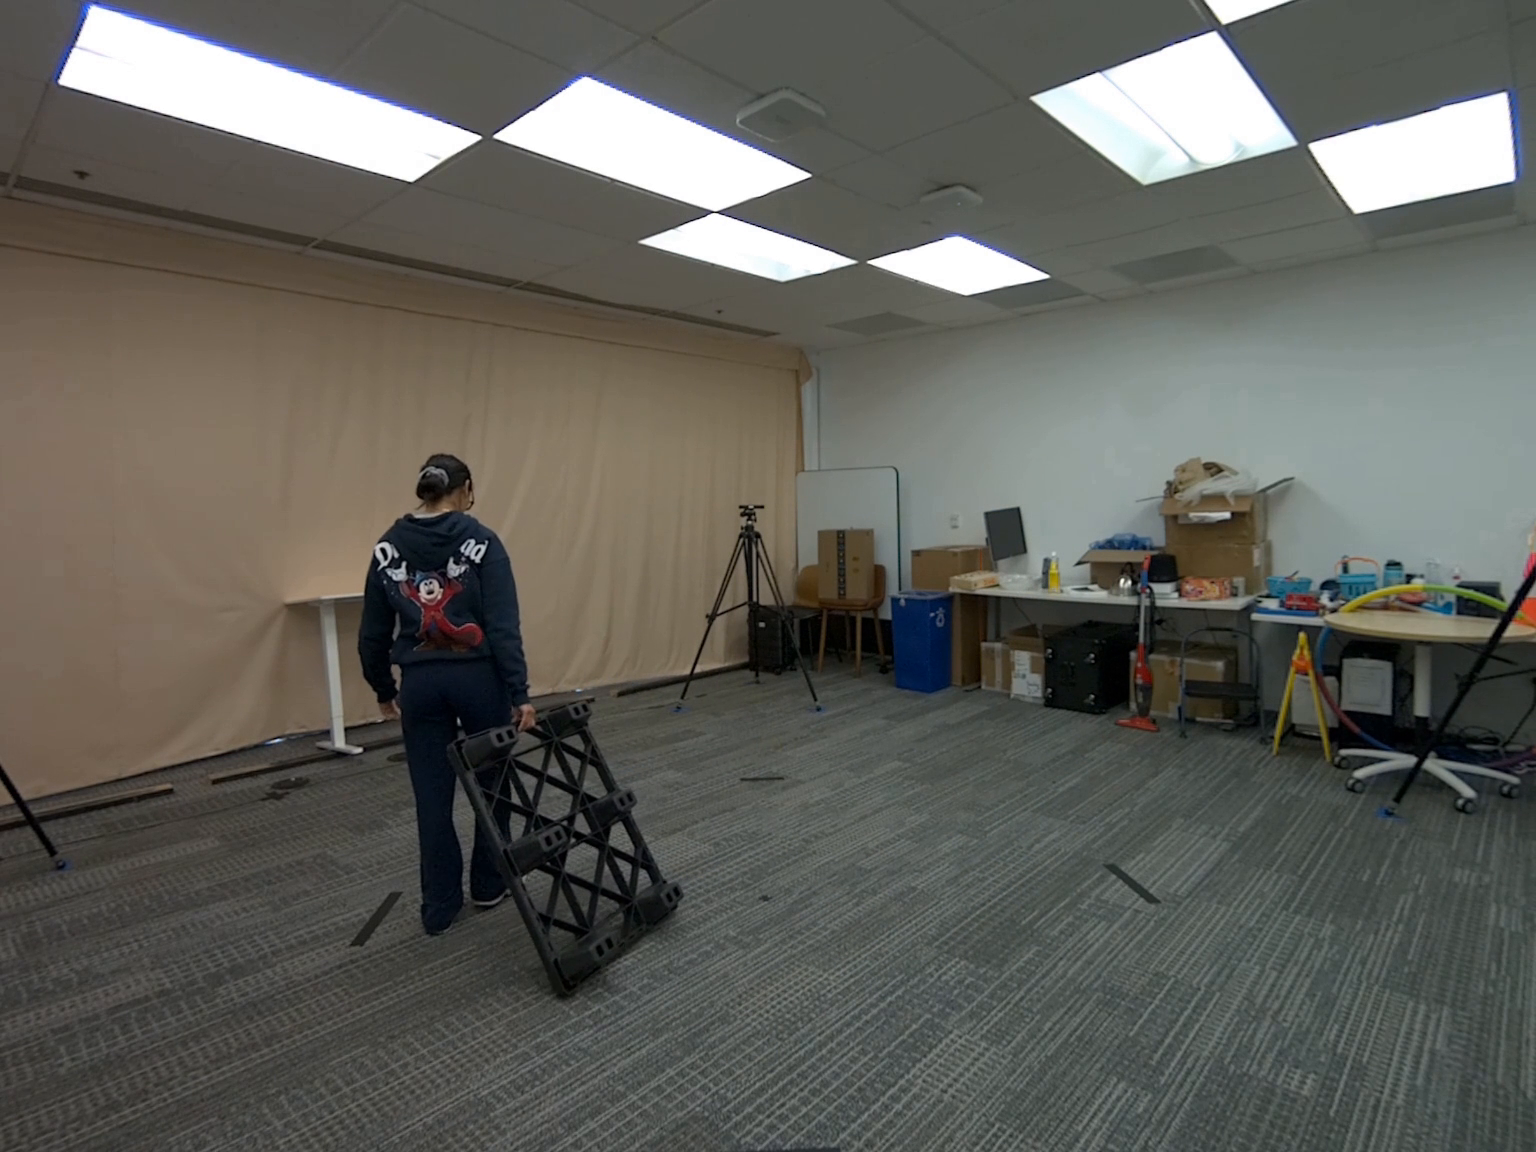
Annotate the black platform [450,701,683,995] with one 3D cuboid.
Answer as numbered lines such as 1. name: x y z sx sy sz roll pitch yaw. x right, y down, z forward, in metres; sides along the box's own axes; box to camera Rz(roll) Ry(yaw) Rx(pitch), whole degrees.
1. black platform: -0.606 0.811 2.709 0.145 0.816 0.590 -36 -12 25
